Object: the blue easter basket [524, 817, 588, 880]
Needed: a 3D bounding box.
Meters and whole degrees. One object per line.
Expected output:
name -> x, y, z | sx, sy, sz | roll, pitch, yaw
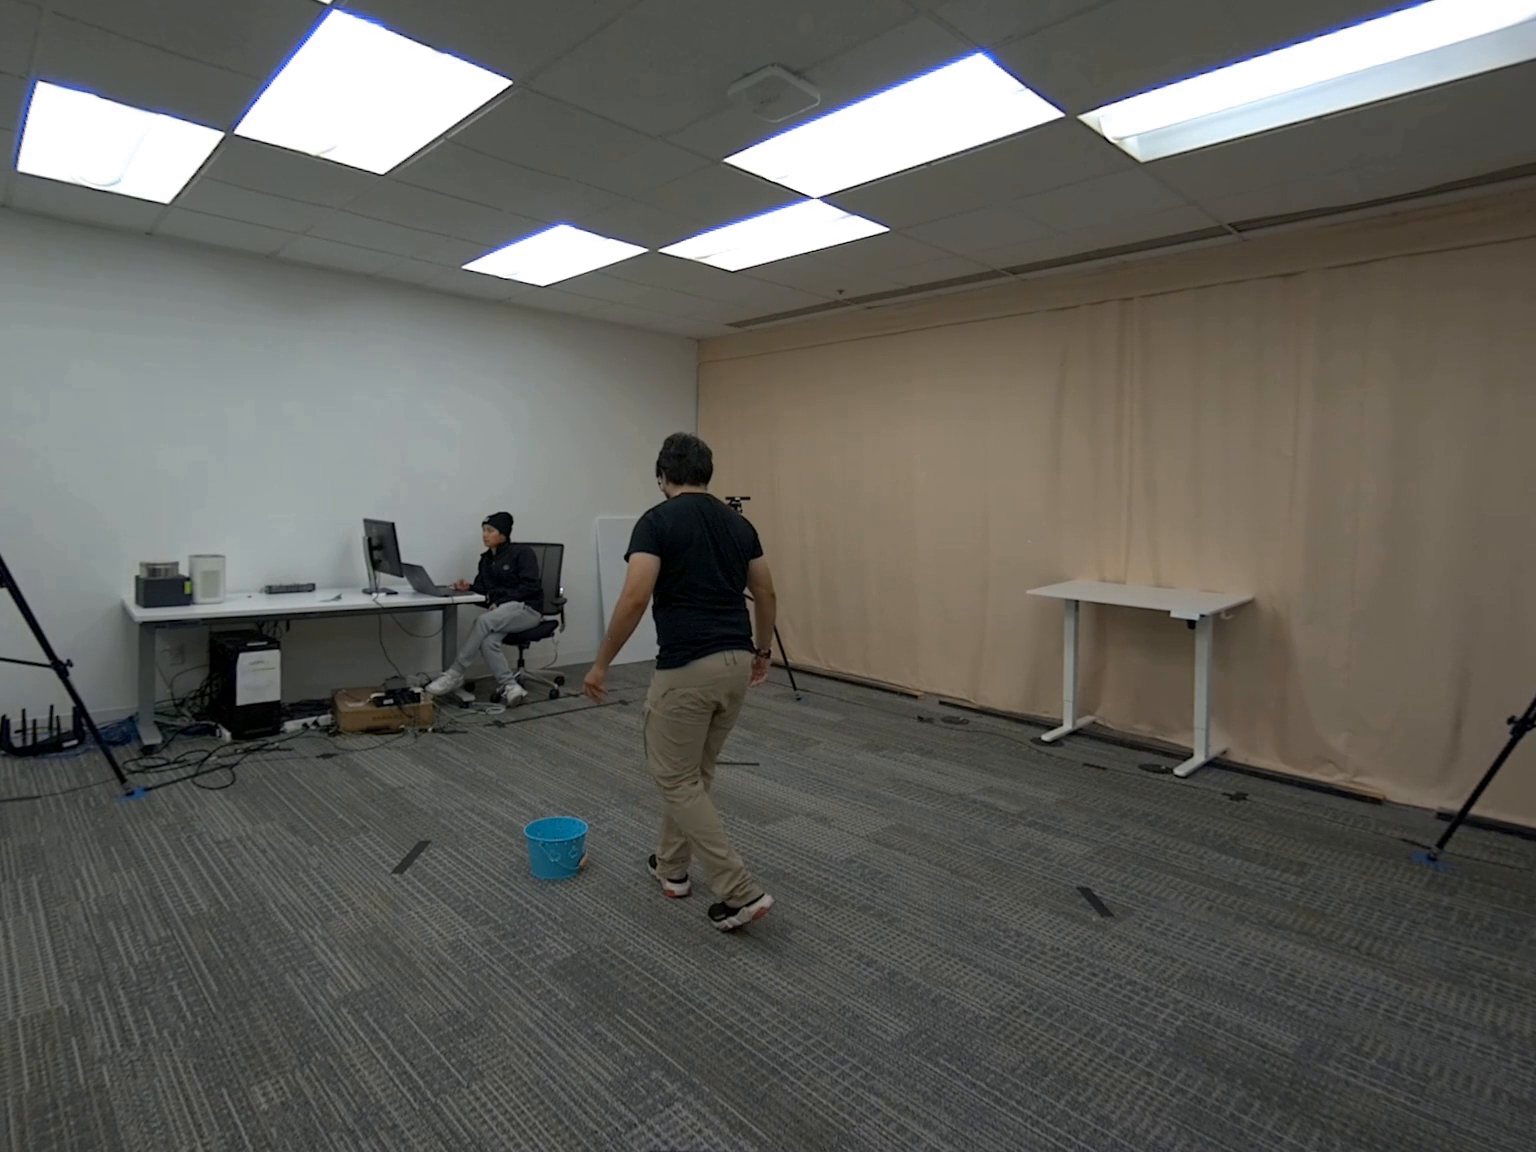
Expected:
blue easter basket -> -0.787, 1.007, 3.125 | 0.243, 0.155, 0.244 | 1, 4, -1
